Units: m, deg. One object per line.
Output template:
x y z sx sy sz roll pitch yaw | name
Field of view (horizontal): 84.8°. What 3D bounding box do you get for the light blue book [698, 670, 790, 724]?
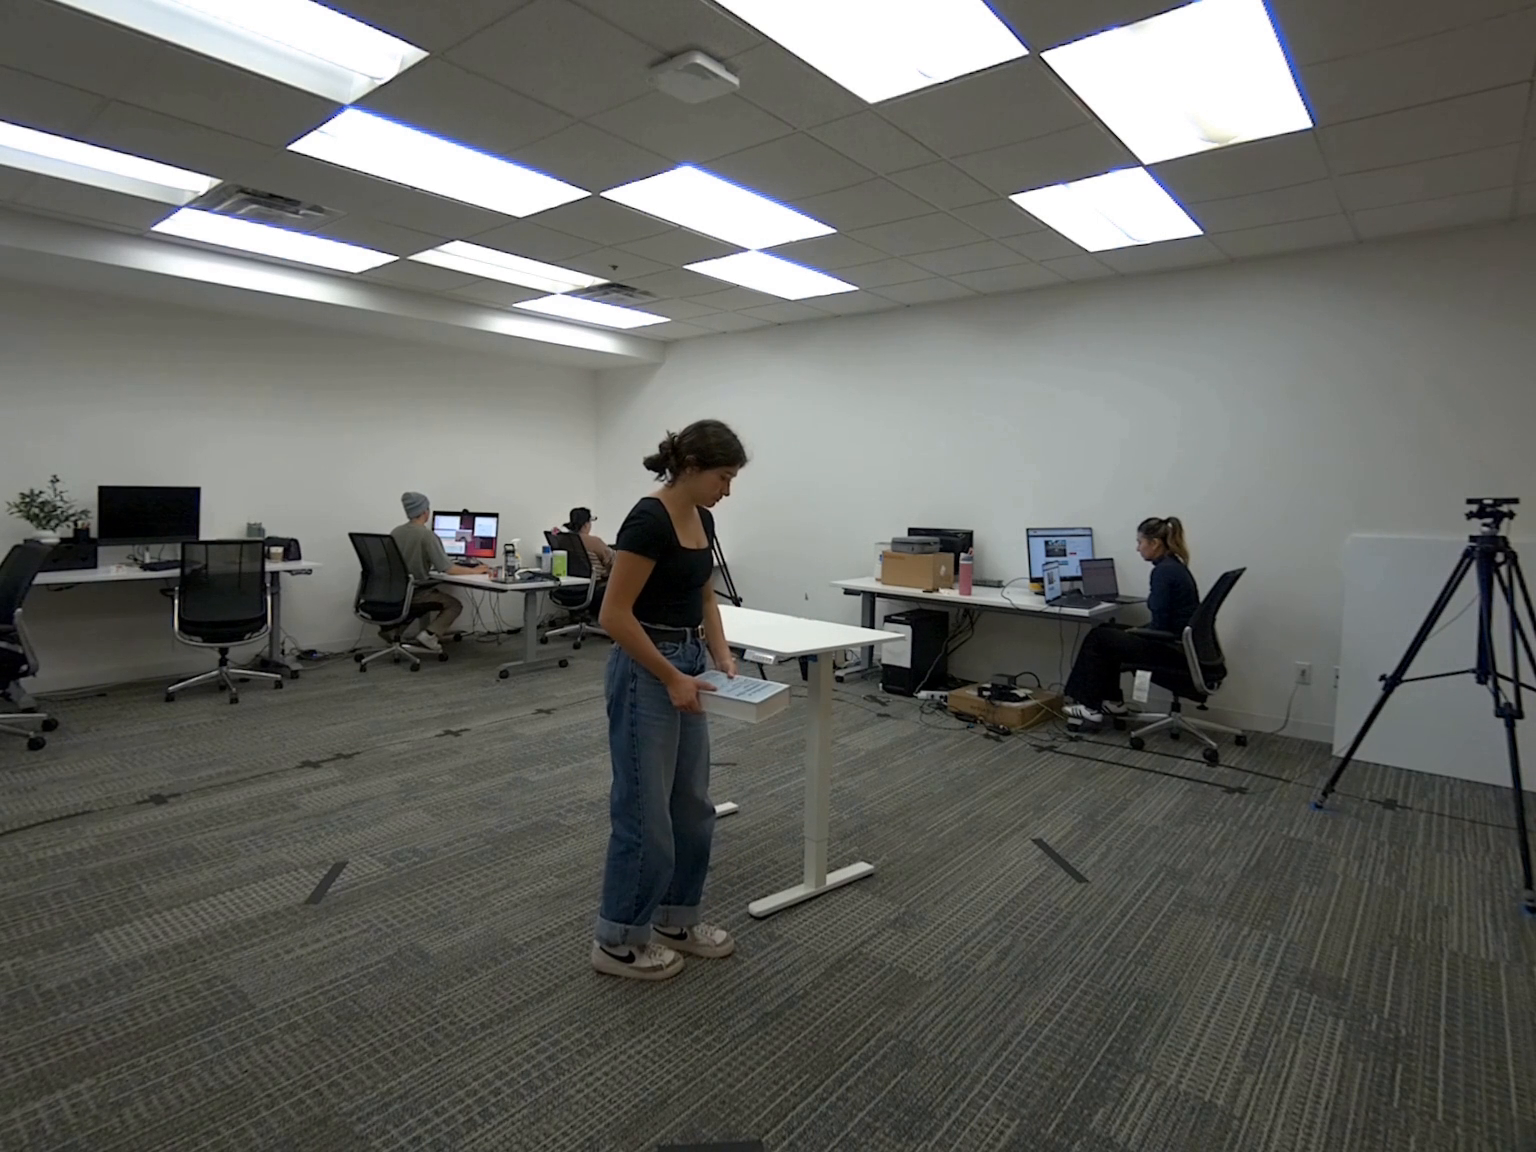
-0.105 0.326 2.299 0.269 0.058 0.187 6 11 30 | light blue book
